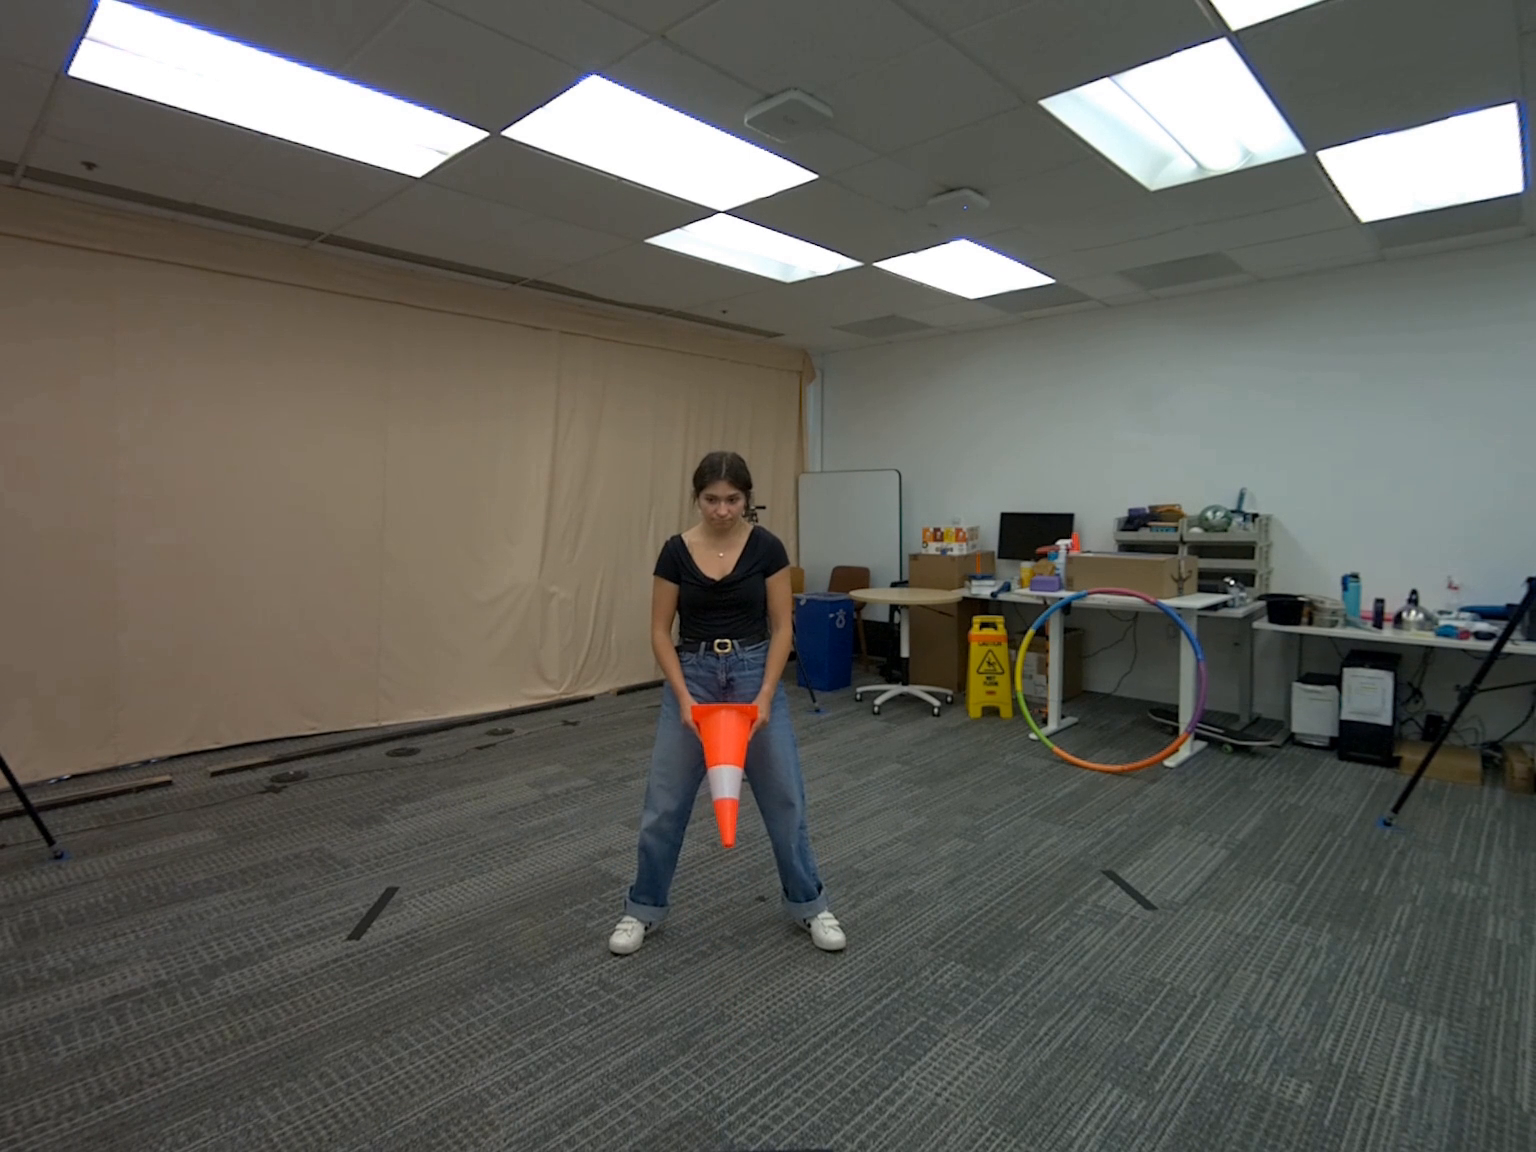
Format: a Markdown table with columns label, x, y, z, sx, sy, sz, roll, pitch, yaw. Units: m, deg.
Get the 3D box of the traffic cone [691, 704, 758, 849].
| label | x | y | z | sx | sy | sz | roll | pitch | yaw |
| --- | --- | --- | --- | --- | --- | --- | --- | --- | --- |
| traffic cone | -0.113 | 0.585 | 2.420 | 0.201 | 0.391 | 0.204 | 4 | -36 | -13 |
